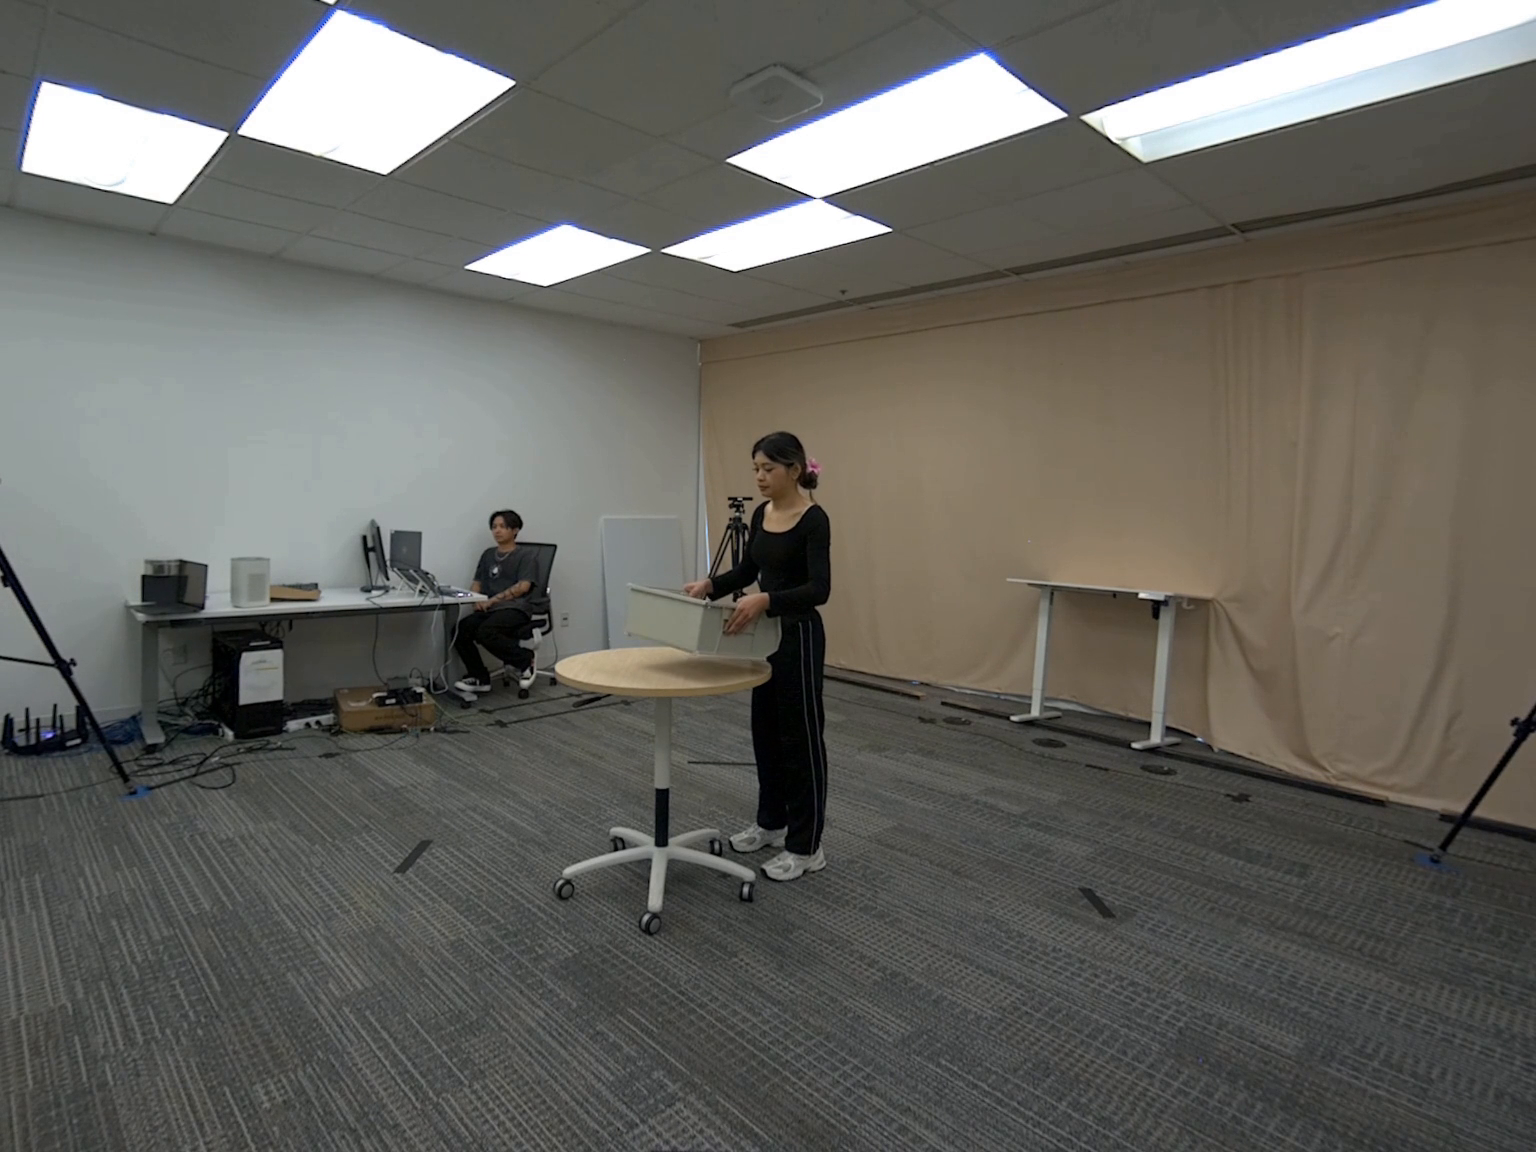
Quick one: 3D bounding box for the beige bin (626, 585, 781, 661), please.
[{"bbox_3d":[-0.233,0.163,2.918,0.367,0.189,0.434,7,4,-44],"label":"beige bin"}]
